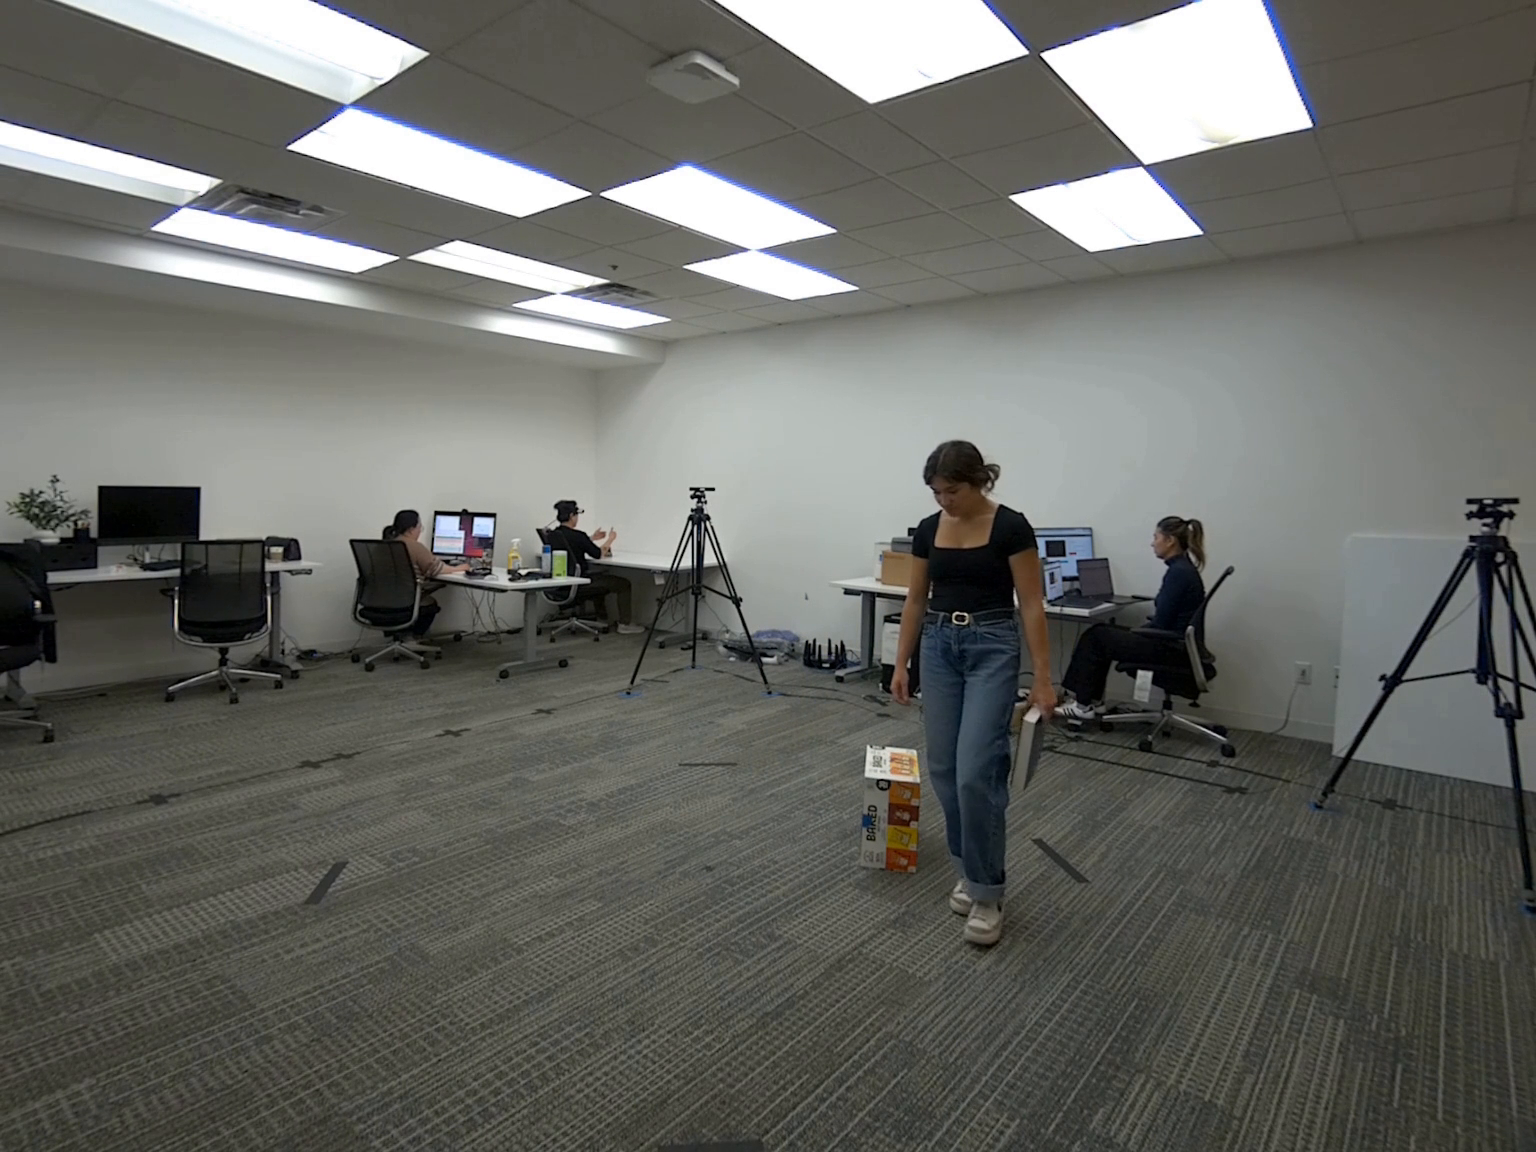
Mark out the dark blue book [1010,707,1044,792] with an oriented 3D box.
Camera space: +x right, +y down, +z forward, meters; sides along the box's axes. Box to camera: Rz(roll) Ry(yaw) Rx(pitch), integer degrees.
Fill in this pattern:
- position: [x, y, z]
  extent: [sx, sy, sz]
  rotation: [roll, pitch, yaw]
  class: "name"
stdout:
- position: [0.829, 0.530, 2.696]
  extent: [0.046, 0.242, 0.160]
  rotation: [13, 18, 29]
  class: "dark blue book"
